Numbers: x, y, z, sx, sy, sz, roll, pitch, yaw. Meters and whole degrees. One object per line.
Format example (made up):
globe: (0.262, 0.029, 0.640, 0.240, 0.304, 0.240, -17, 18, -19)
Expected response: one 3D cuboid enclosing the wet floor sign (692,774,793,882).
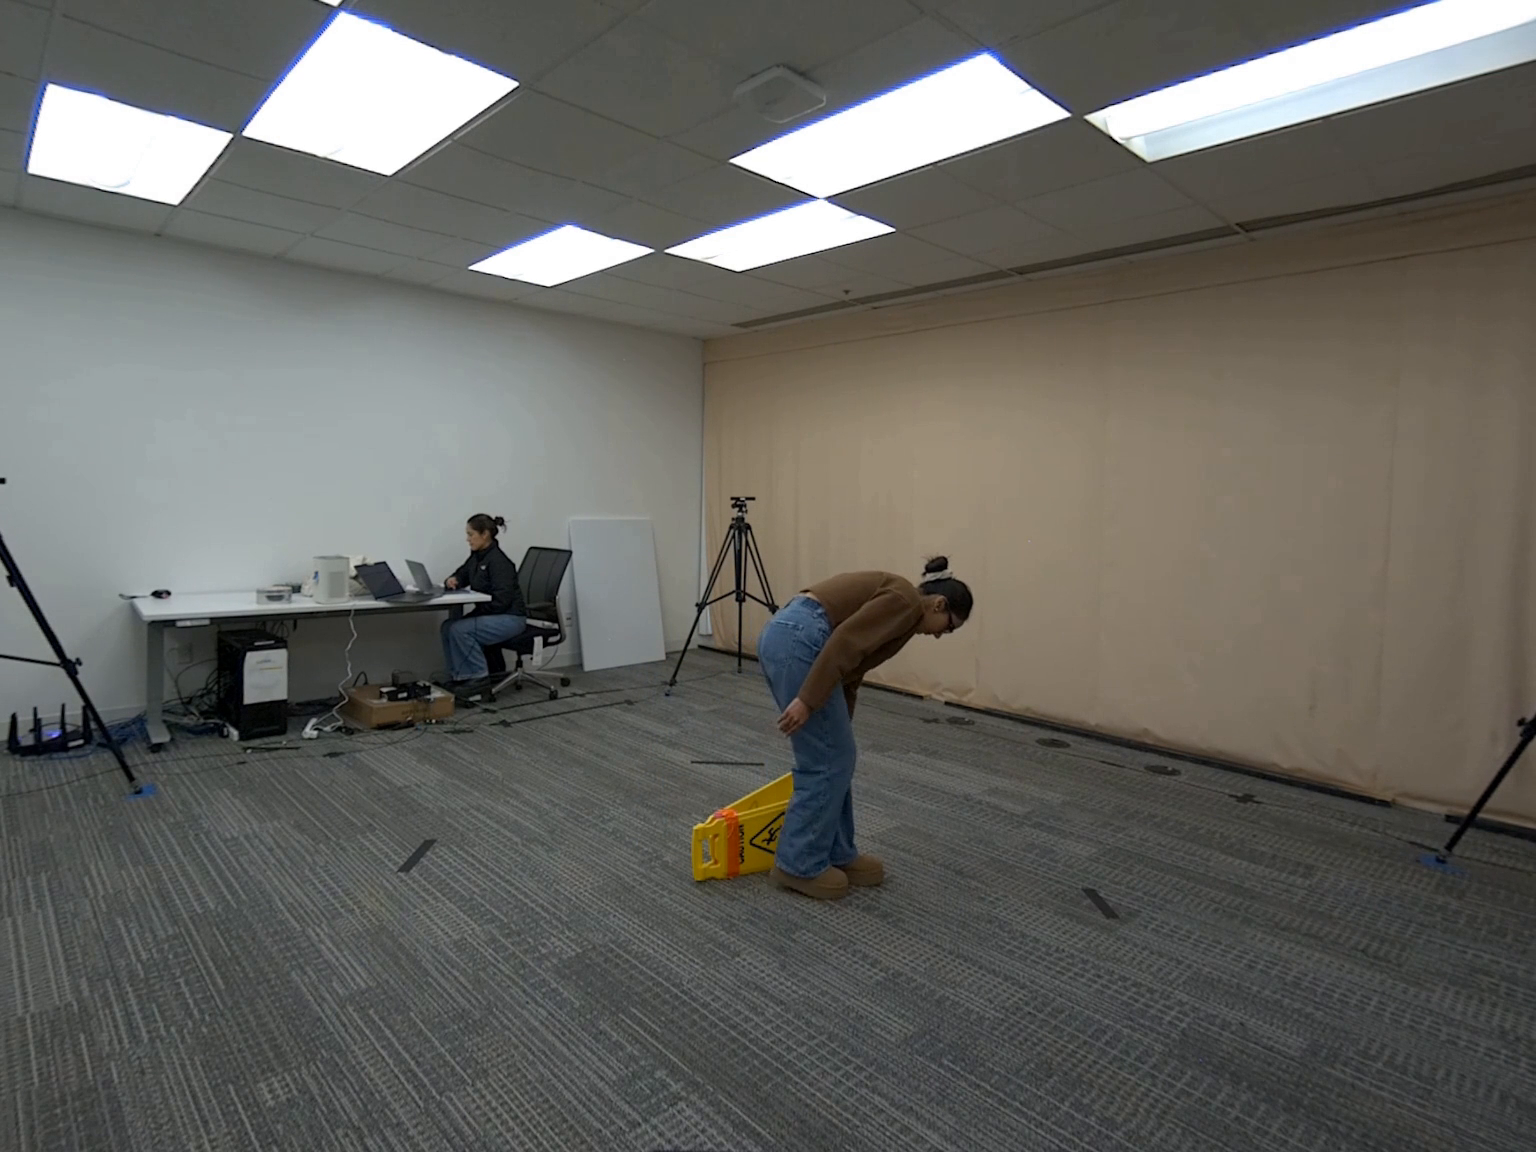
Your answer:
wet floor sign: (-0.018, 0.971, 3.215, 0.632, 0.281, 0.297, -6, 7, -38)
